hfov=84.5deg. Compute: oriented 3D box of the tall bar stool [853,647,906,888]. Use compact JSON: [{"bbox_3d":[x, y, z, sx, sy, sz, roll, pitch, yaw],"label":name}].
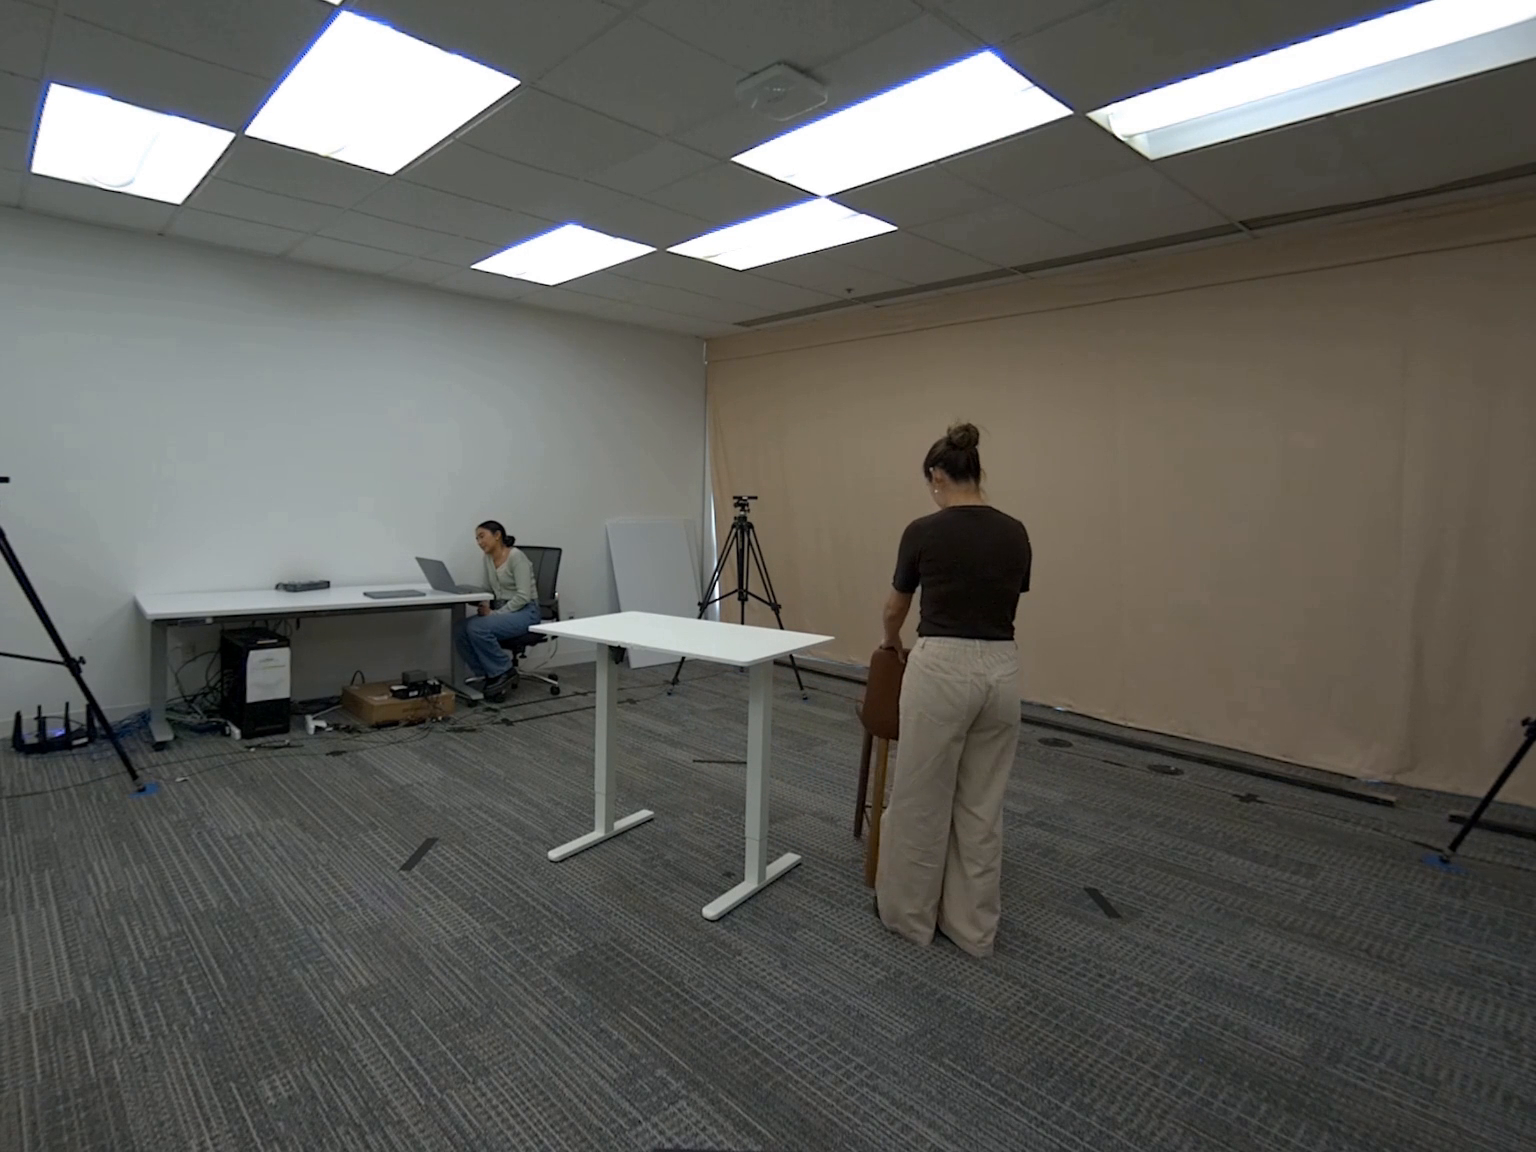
[{"bbox_3d":[0.554,0.670,3.198,0.458,0.886,0.468,2,6,3],"label":"tall bar stool"}]
